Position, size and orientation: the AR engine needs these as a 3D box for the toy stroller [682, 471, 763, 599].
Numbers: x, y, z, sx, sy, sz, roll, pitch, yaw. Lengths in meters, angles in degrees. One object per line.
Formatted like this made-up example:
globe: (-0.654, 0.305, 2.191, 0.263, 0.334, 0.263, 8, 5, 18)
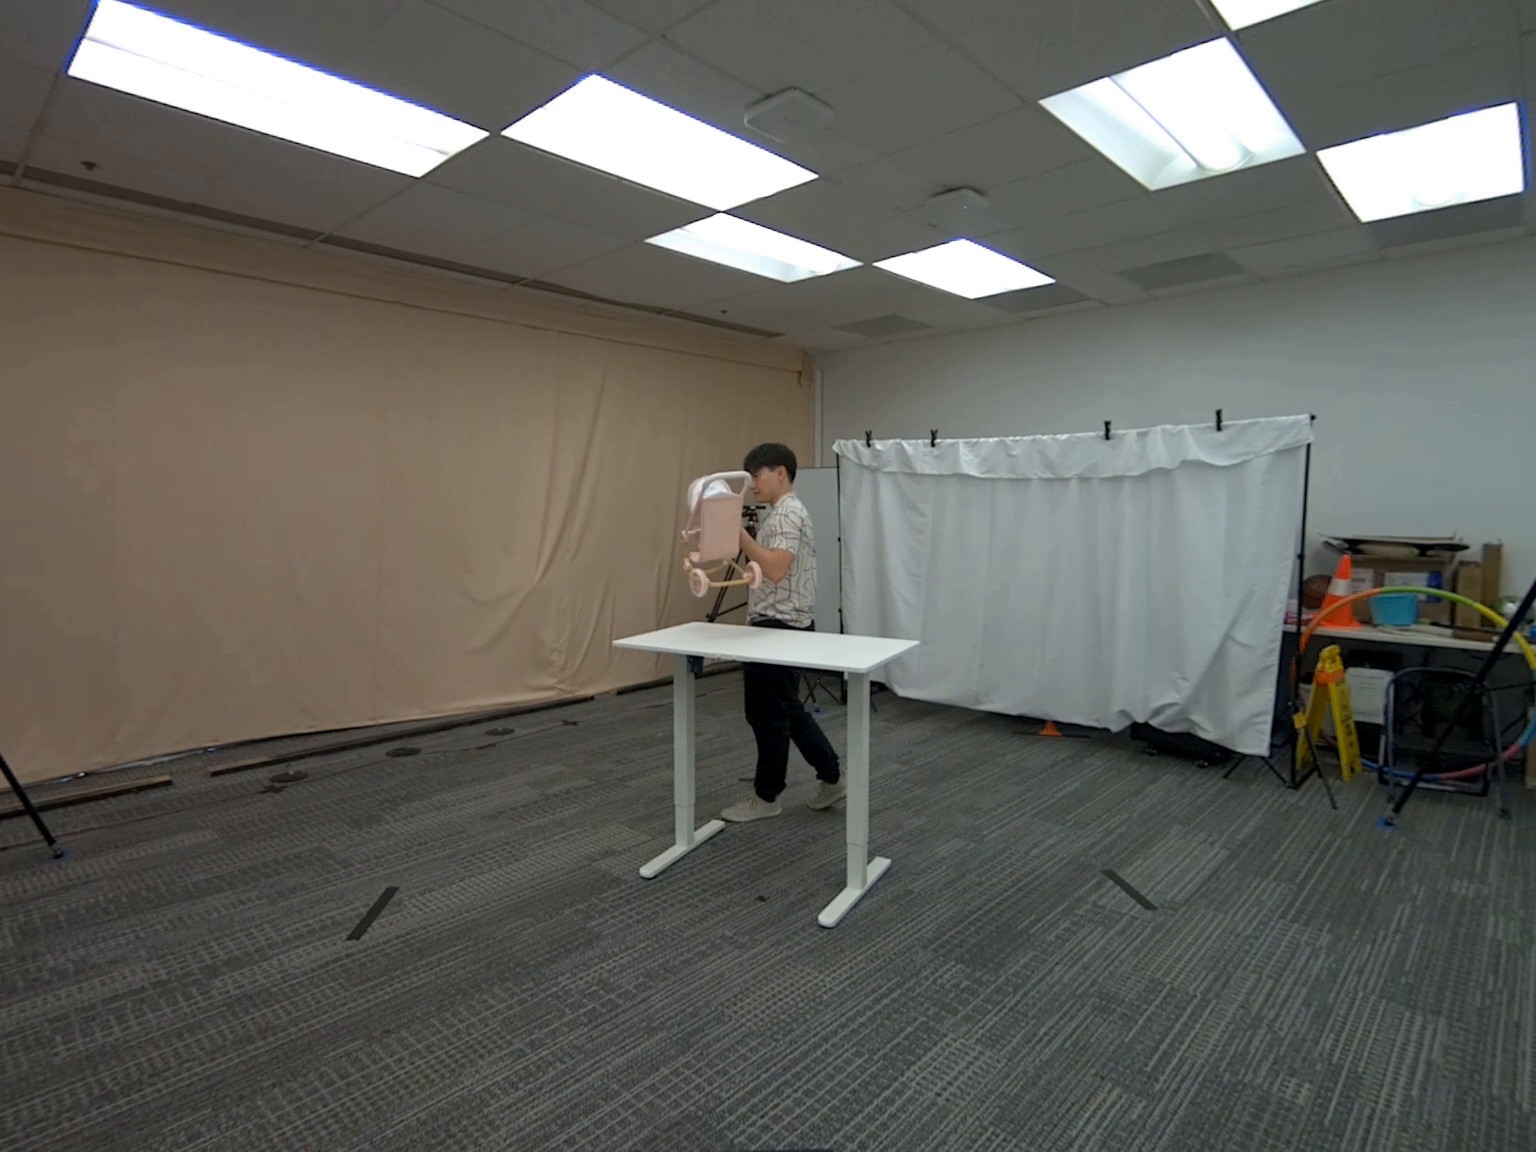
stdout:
toy stroller: (-0.213, -0.158, 3.384, 0.275, 0.531, 0.352, -7, 12, -26)
